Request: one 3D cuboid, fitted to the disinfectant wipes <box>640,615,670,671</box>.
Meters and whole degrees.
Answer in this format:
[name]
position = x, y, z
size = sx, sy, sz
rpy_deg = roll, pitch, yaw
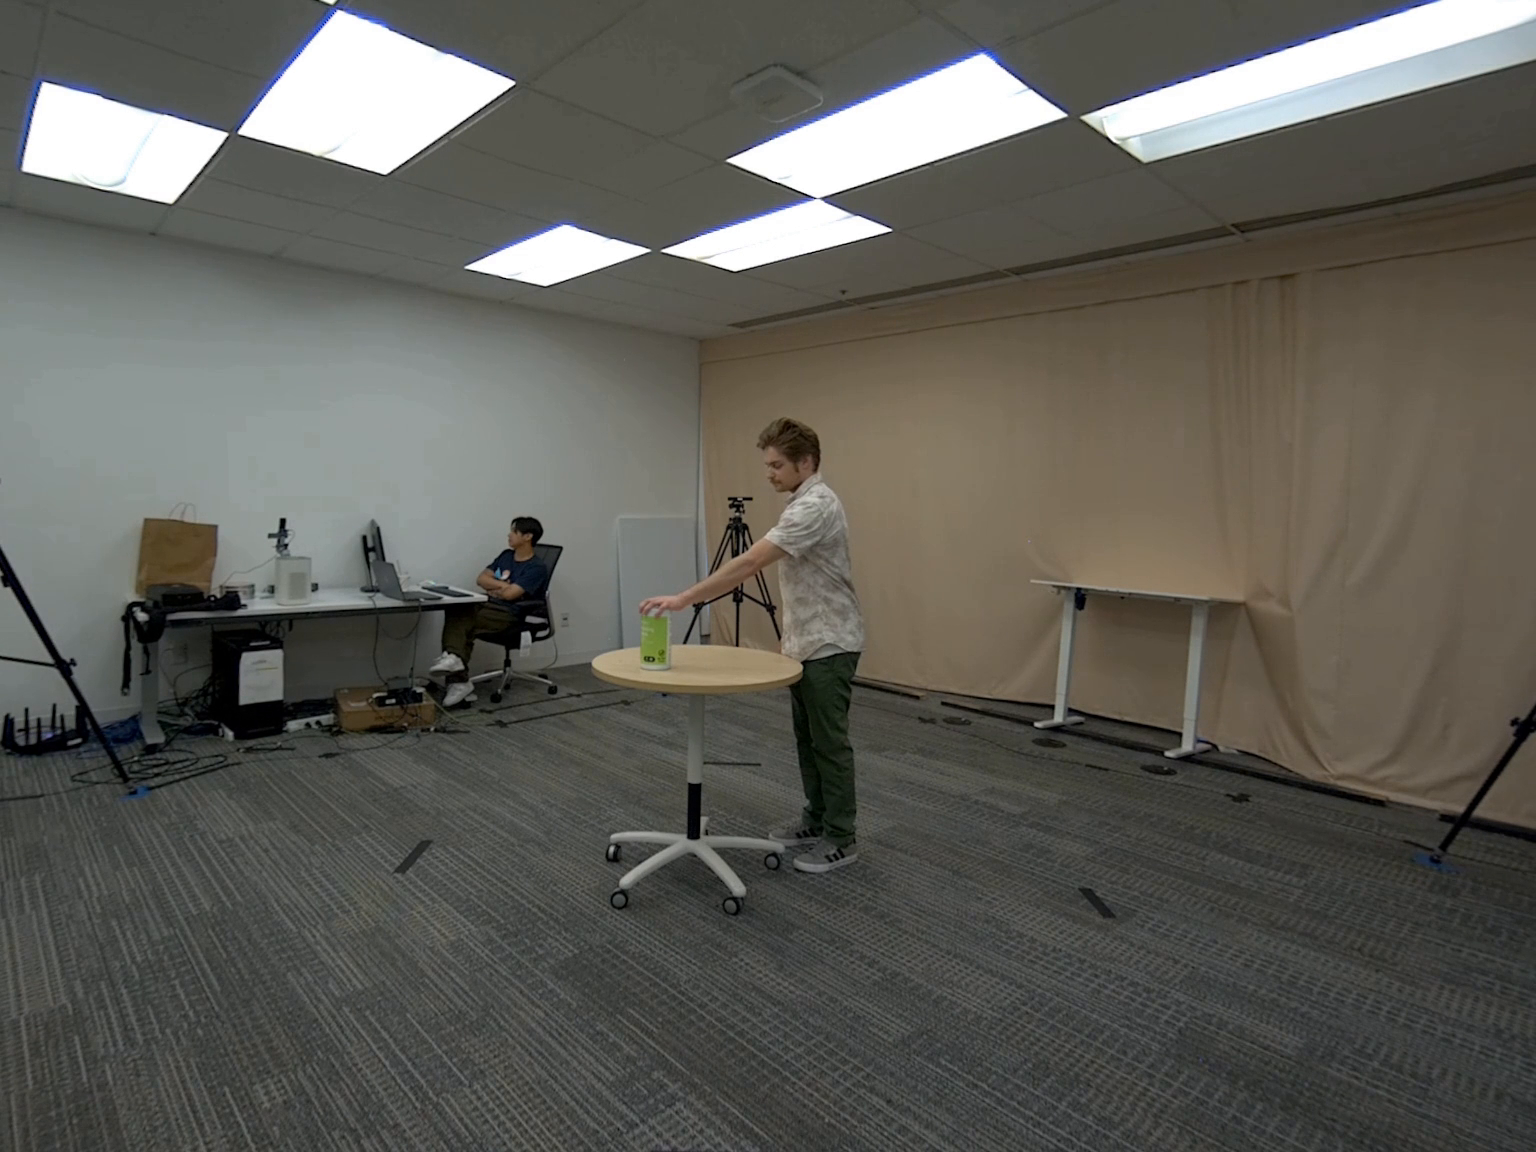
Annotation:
[disinfectant wipes]
position = -0.400, 0.217, 2.951
size = 0.118, 0.217, 0.118
rpy_deg = 1, 5, -1
